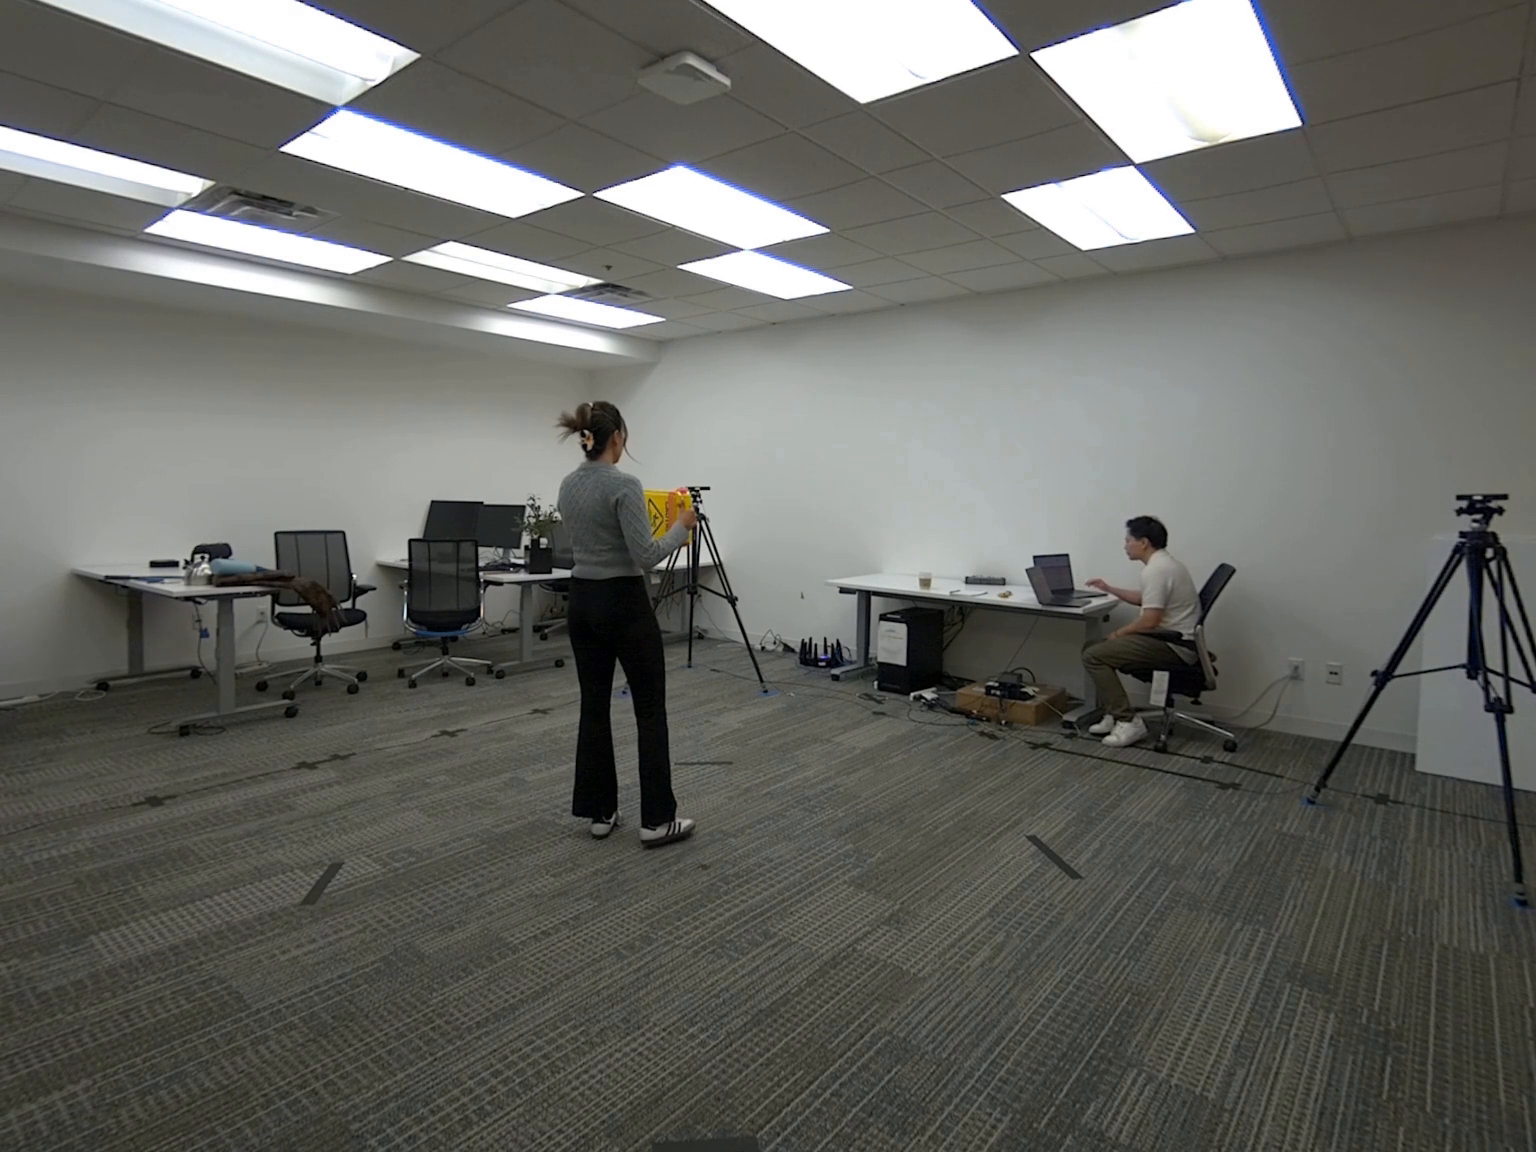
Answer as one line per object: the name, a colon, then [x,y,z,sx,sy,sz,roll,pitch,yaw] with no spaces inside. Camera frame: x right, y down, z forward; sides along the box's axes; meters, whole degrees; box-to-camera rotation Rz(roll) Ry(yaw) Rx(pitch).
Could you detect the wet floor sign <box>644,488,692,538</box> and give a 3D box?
wet floor sign: [-0.434,-0.256,3.732,0.284,0.281,0.660,-1,4,-19]
